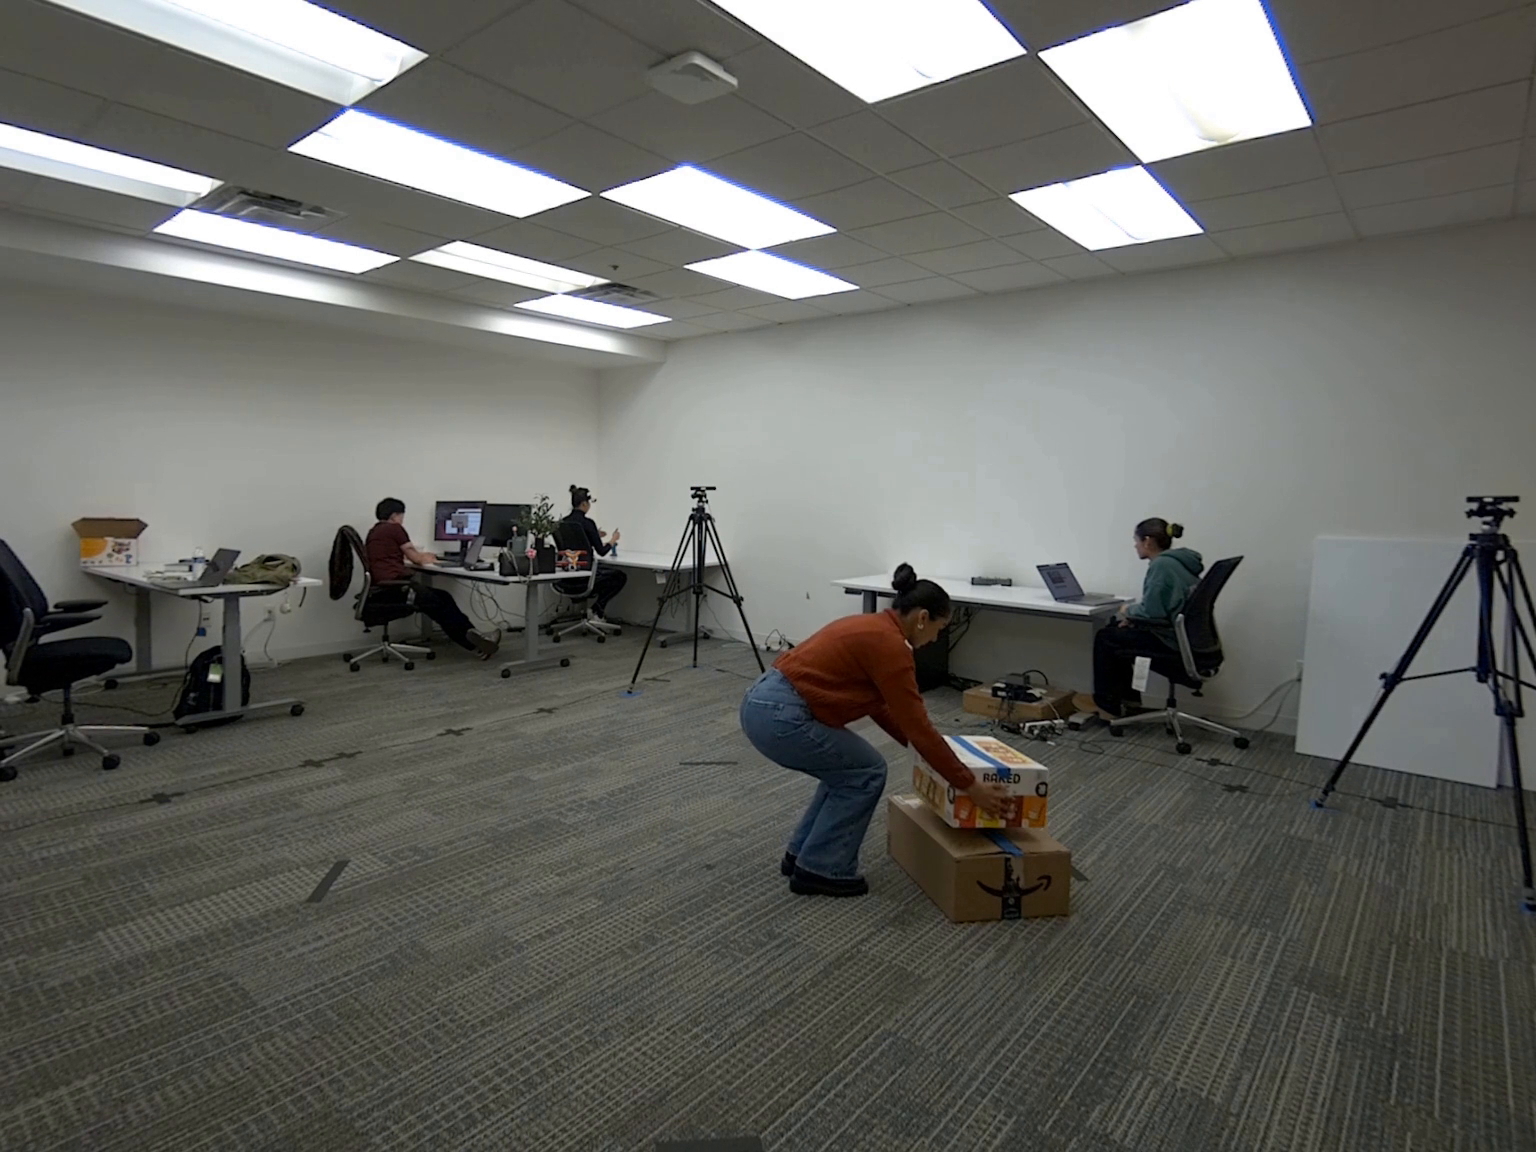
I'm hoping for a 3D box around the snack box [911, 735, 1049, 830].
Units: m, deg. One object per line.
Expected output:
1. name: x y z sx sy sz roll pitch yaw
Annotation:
1. snack box: 0.732 0.718 3.046 0.336 0.205 0.411 3 4 -12
